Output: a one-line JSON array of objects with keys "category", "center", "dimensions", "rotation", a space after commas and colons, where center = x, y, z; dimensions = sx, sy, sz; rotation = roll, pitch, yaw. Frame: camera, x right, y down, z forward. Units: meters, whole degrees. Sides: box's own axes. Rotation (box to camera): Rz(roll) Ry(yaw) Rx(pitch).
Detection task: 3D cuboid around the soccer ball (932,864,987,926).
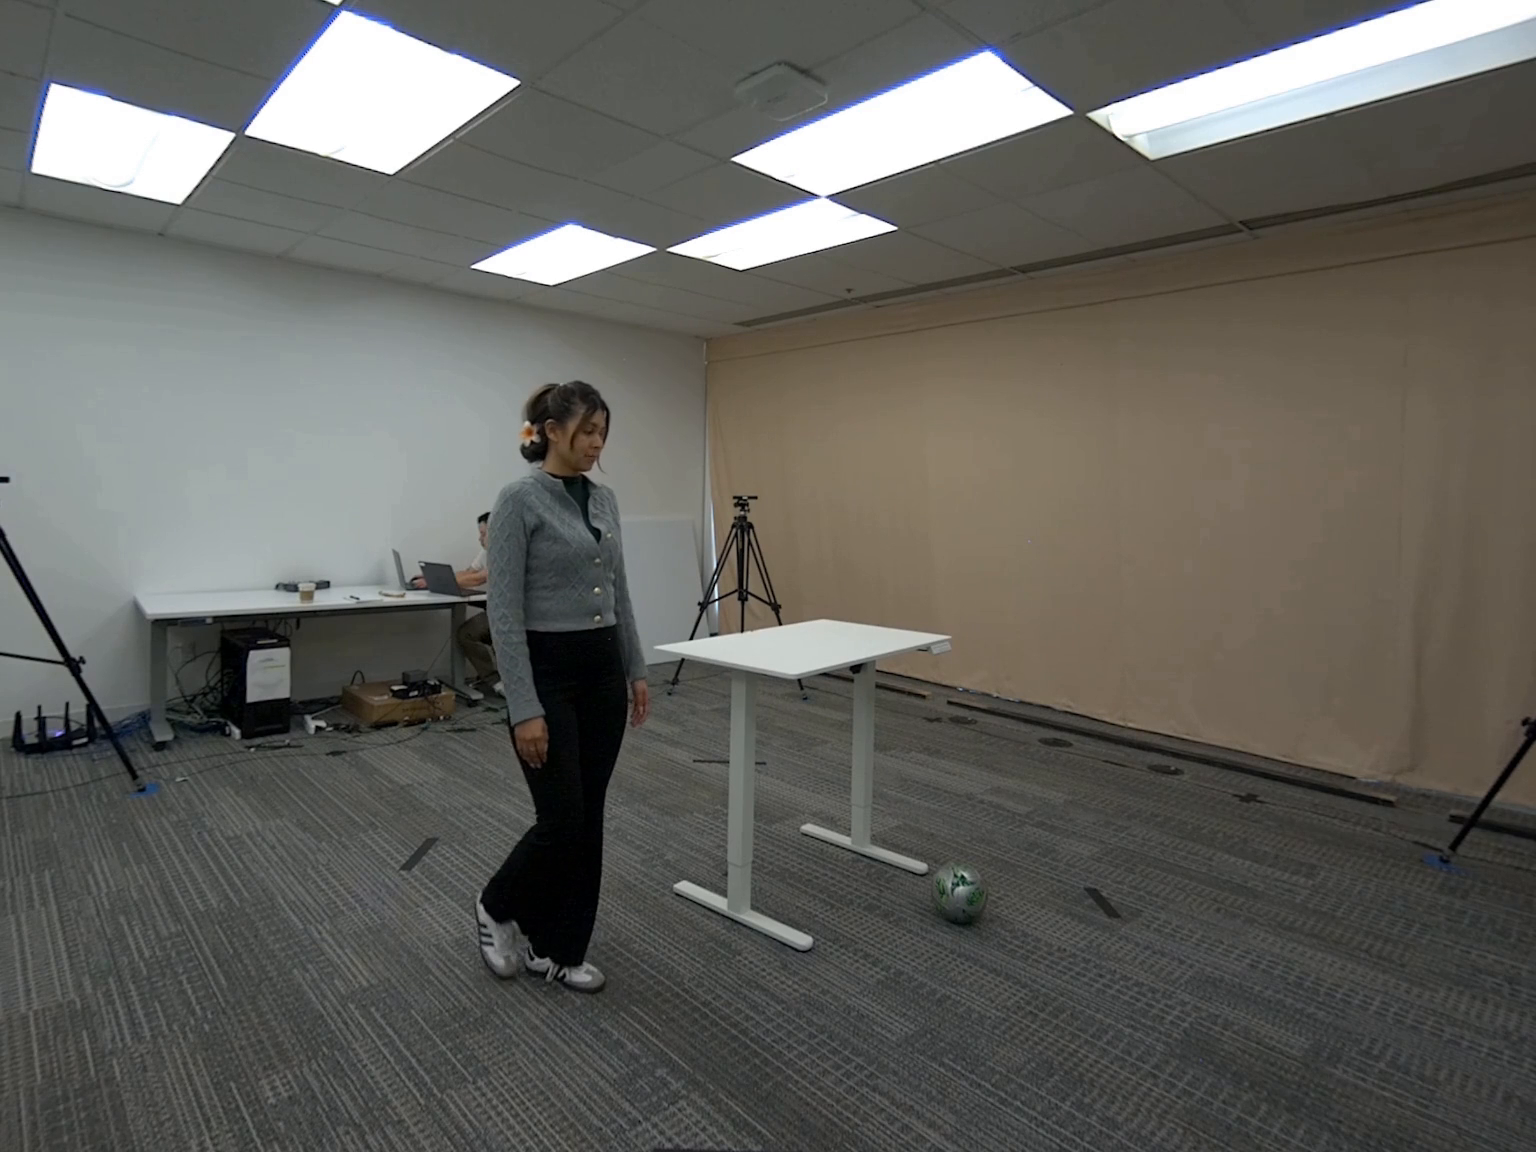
[{"category": "soccer ball", "center": [0.634, 1.053, 2.809], "dimensions": [0.187, 0.187, 0.188], "rotation": [1, 4, -1]}]
